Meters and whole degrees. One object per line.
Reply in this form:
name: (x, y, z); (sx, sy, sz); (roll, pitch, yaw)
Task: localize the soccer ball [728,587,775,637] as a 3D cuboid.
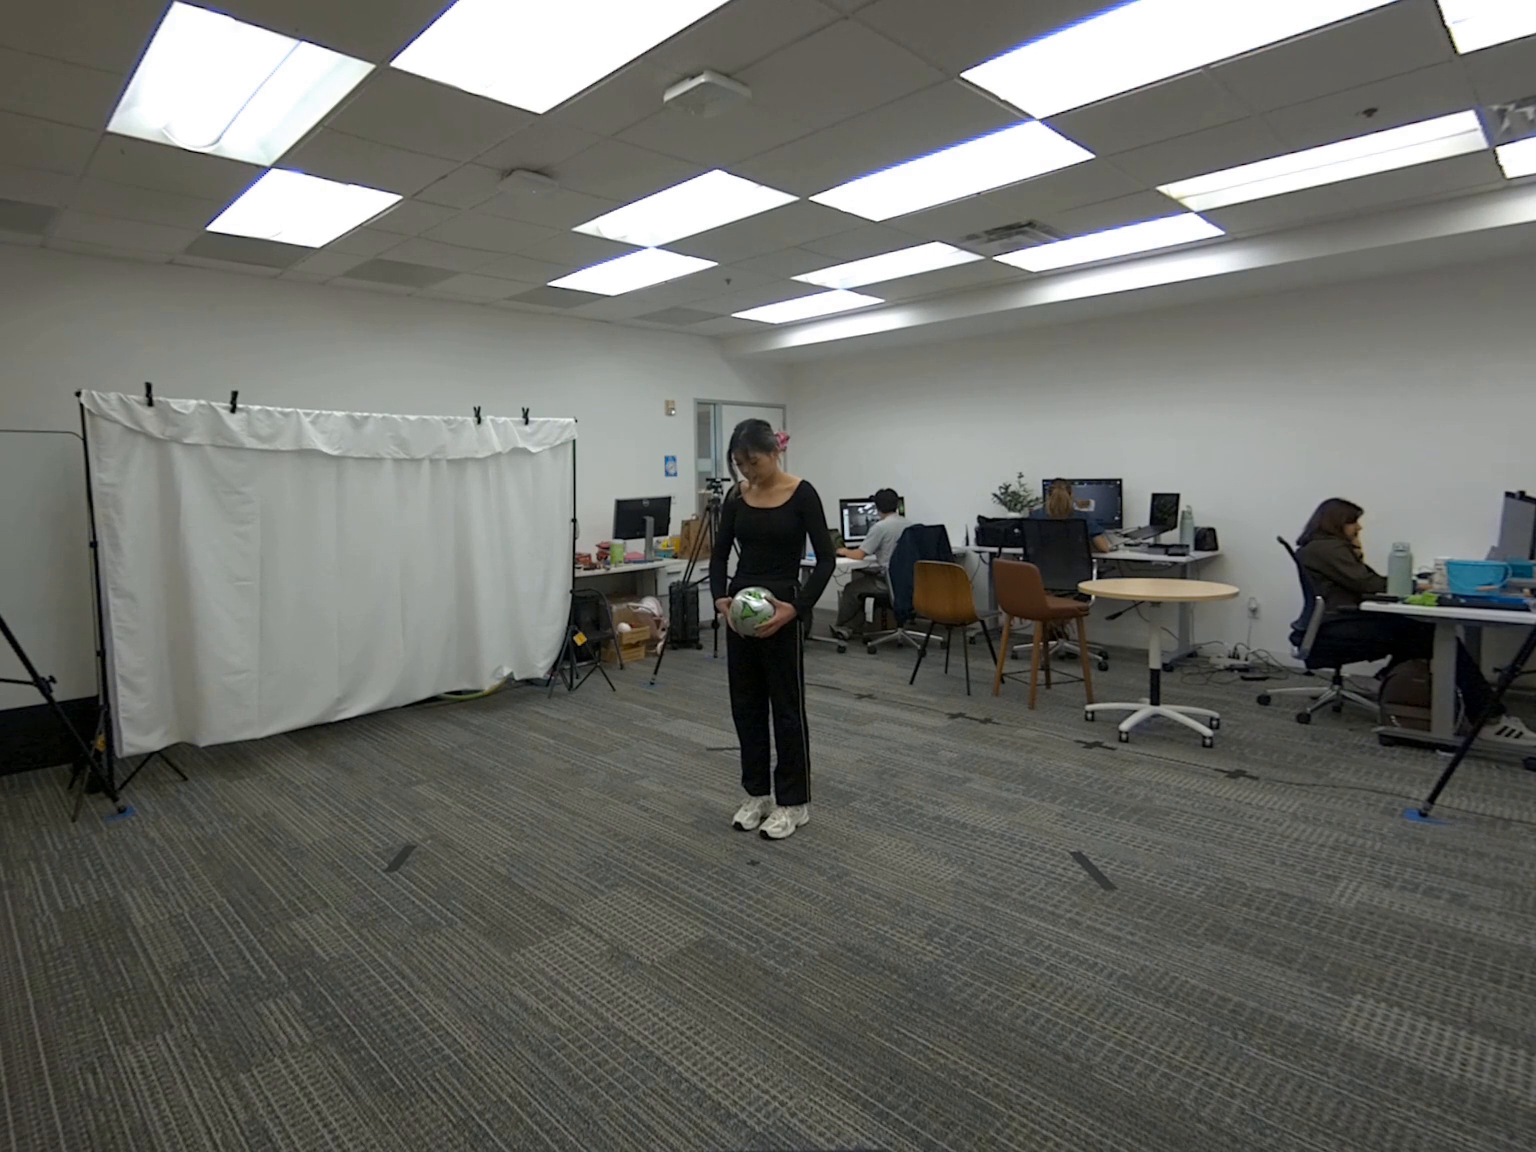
soccer ball: (-0.049, 0.135, 3.197); (0.187, 0.187, 0.188); (-1, 5, -2)
